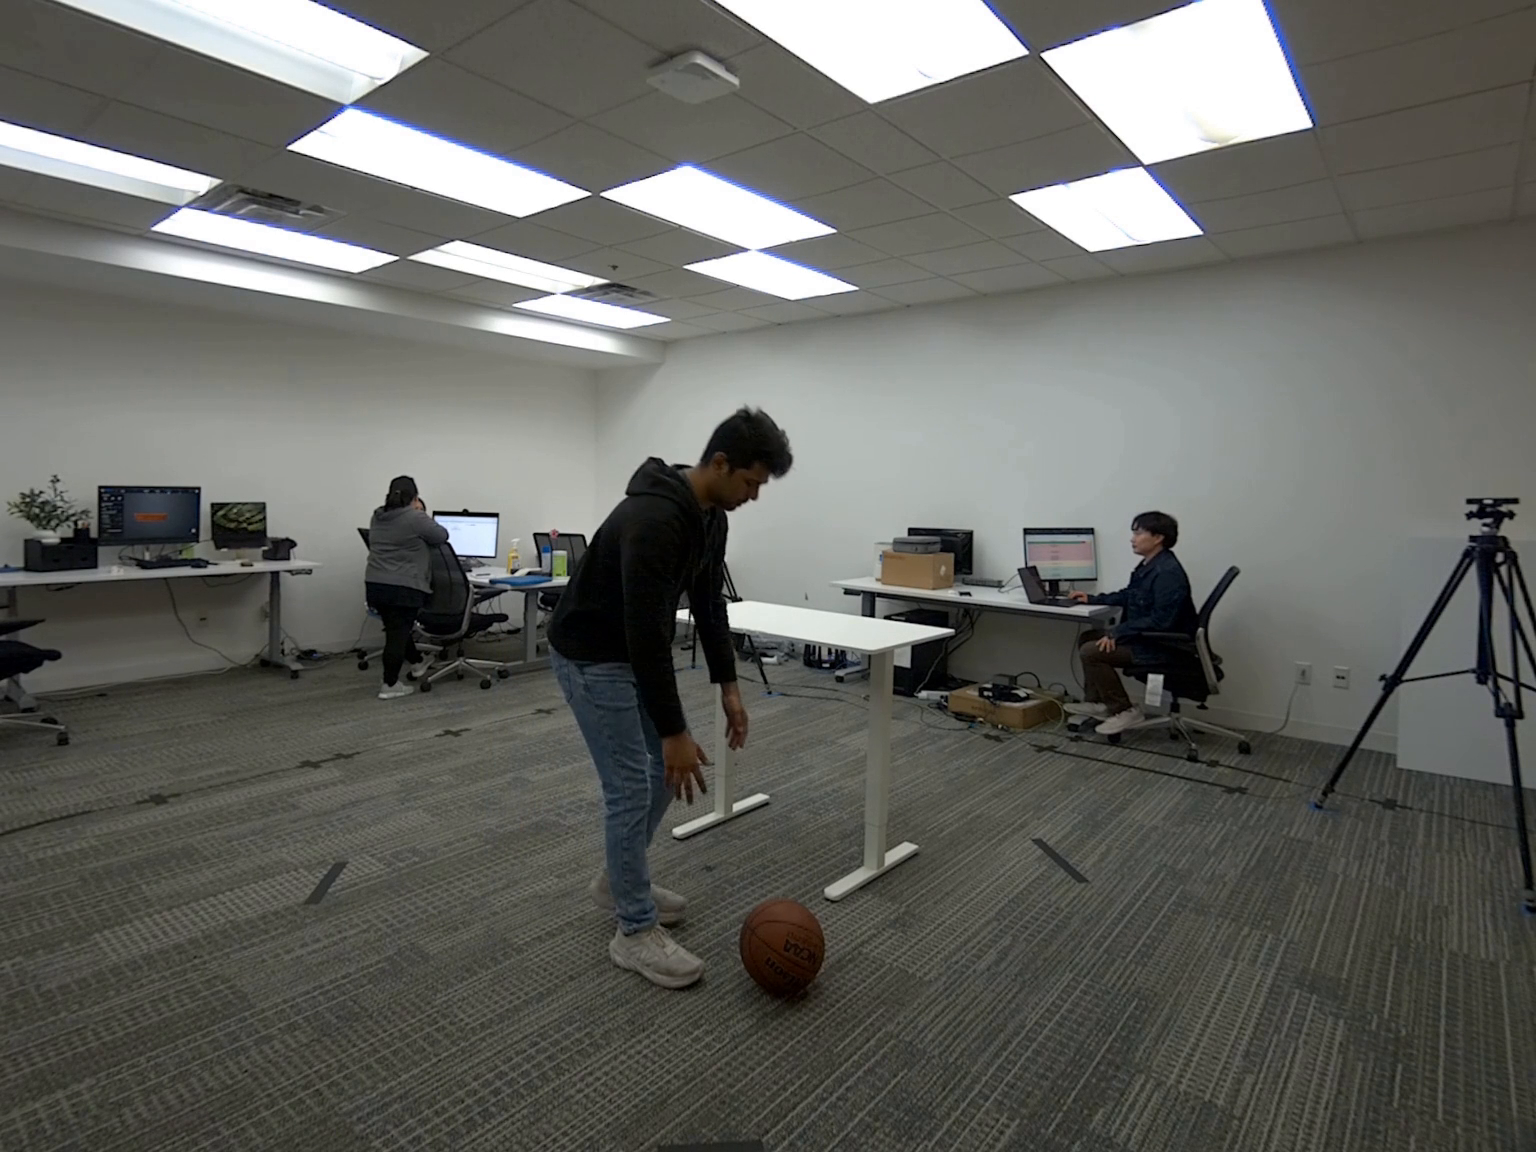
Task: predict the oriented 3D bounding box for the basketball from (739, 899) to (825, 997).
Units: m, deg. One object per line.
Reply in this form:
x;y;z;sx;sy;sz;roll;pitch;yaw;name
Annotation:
0.039;1.022;2.369;0.235;0.235;0.237;1;4;-2;basketball
